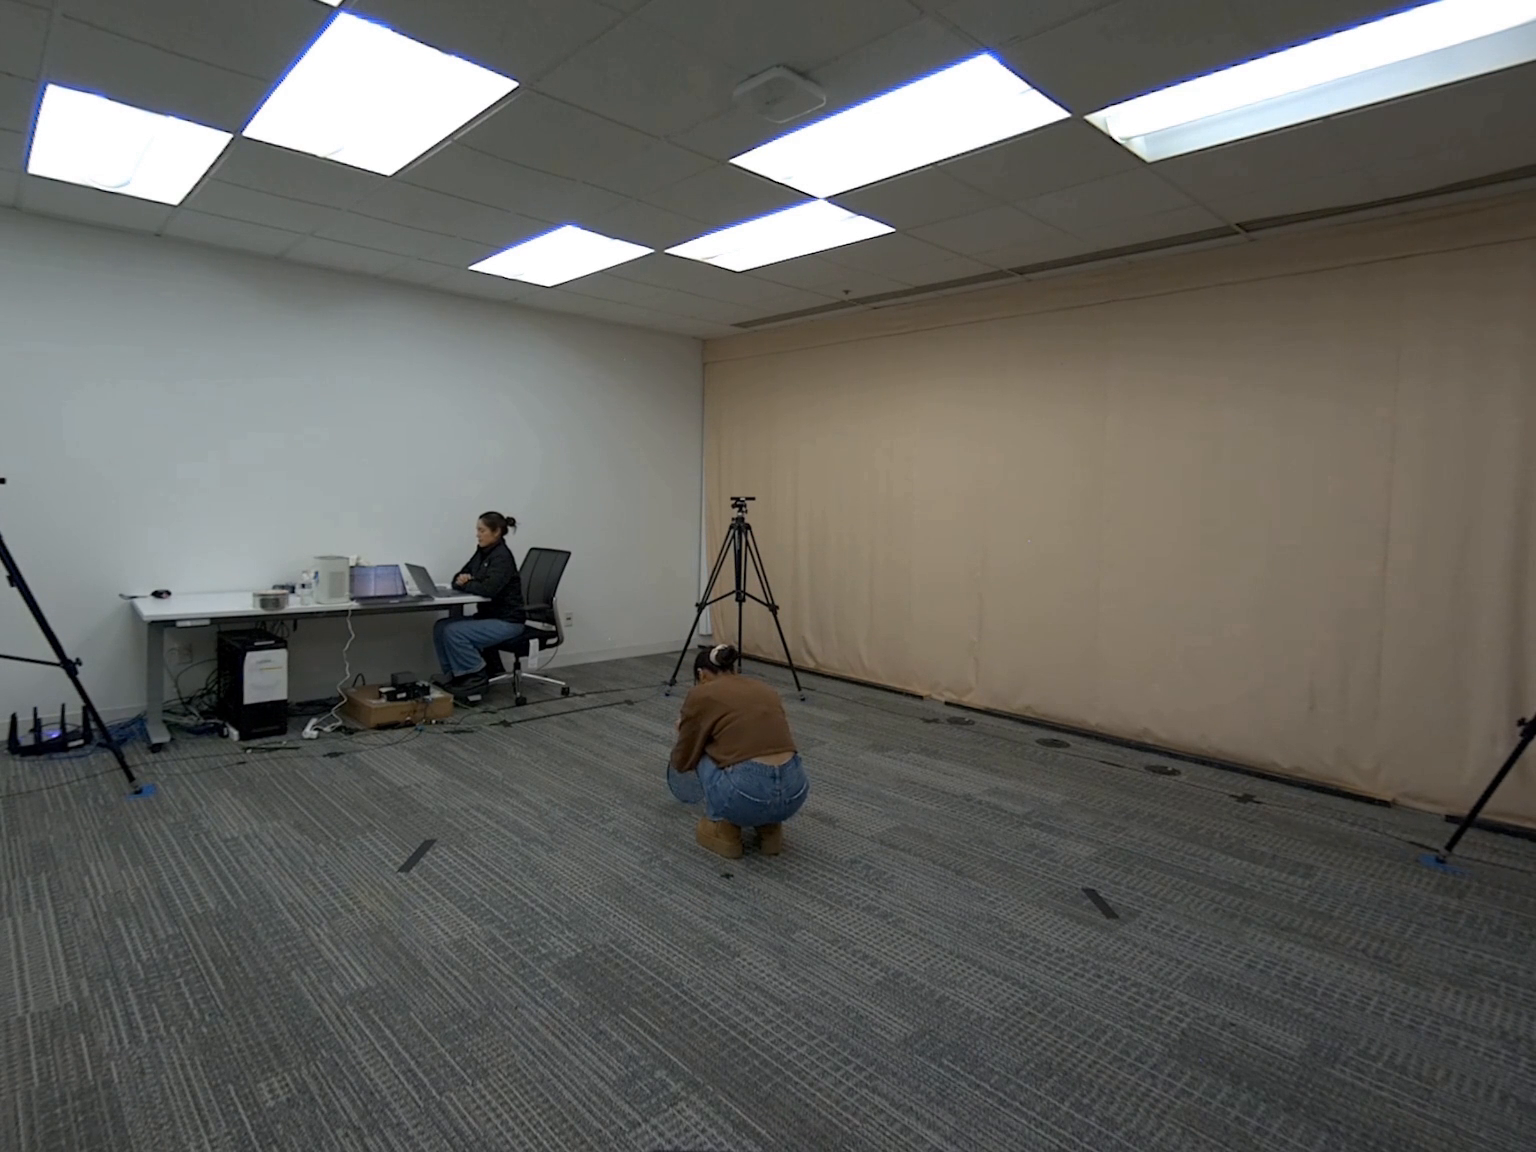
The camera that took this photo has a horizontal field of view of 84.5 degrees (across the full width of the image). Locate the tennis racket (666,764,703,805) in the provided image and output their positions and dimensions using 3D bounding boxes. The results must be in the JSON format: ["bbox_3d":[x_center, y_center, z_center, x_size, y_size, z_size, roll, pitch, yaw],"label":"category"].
[{"bbox_3d":[-0.347,0.825,3.818,0.216,0.430,0.031,10,9,10],"label":"tennis racket"}]
